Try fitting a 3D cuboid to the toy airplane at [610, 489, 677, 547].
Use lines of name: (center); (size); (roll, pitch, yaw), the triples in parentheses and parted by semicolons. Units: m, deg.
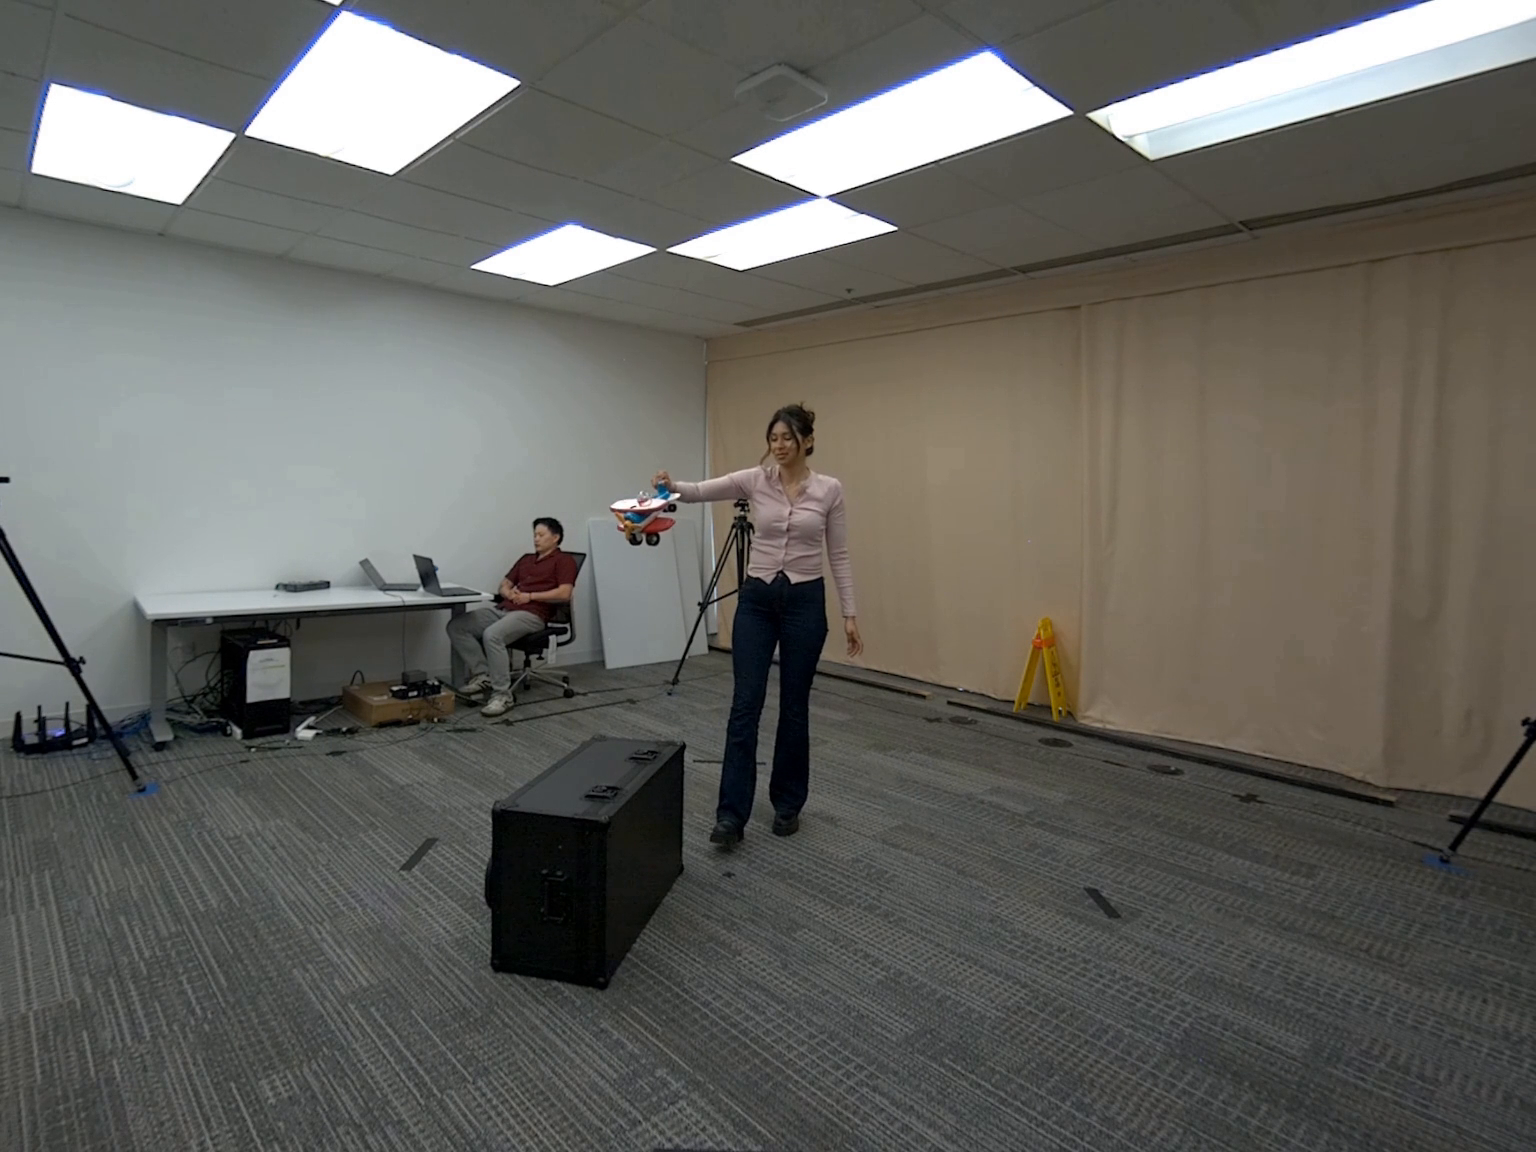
toy airplane: (-0.455, -0.232, 3.078); (0.253, 0.152, 0.265); (-18, 38, 14)
